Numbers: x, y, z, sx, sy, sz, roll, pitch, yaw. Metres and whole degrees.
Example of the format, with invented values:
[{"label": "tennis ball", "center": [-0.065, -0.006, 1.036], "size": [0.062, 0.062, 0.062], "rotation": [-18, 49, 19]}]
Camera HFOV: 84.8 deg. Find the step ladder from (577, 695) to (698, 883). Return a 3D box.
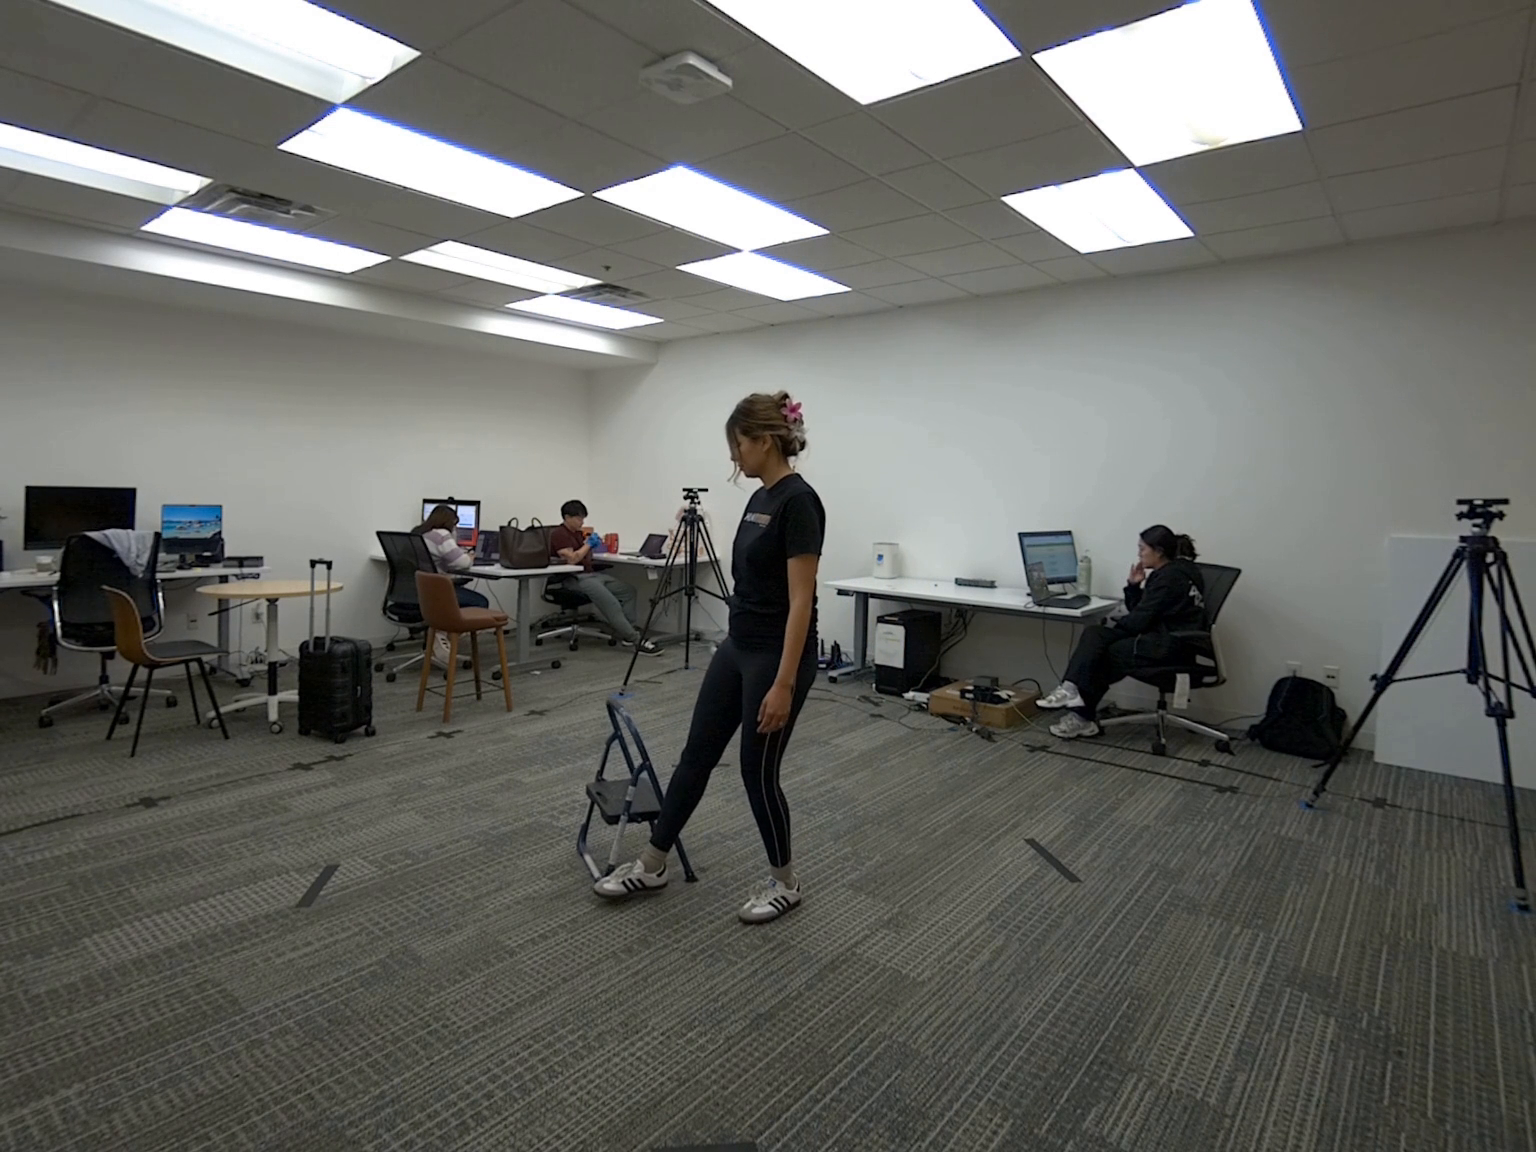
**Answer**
[{"label": "step ladder", "center": [-0.501, 0.757, 3.130], "size": [0.341, 0.604, 0.442], "rotation": [0, 4, -25]}]
